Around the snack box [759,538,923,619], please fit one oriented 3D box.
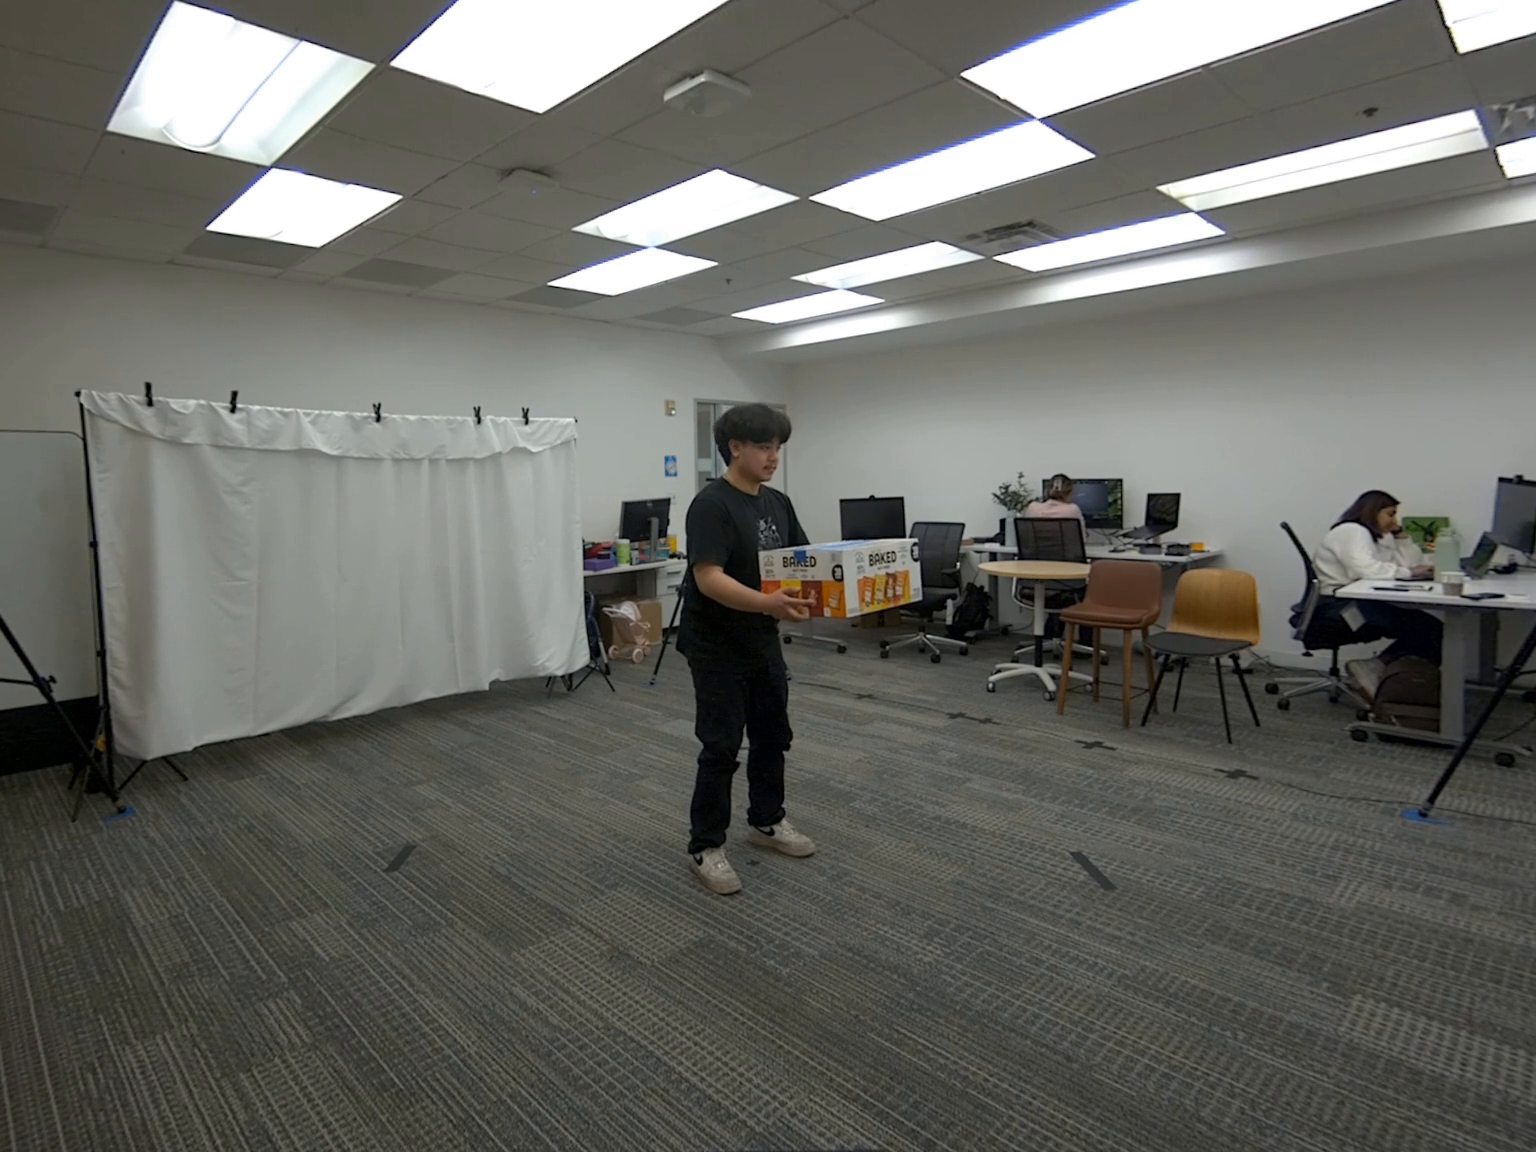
[{"bbox_3d":[0.232,0.005,2.752,0.350,0.205,0.395,-1,5,44],"label":"snack box"}]
